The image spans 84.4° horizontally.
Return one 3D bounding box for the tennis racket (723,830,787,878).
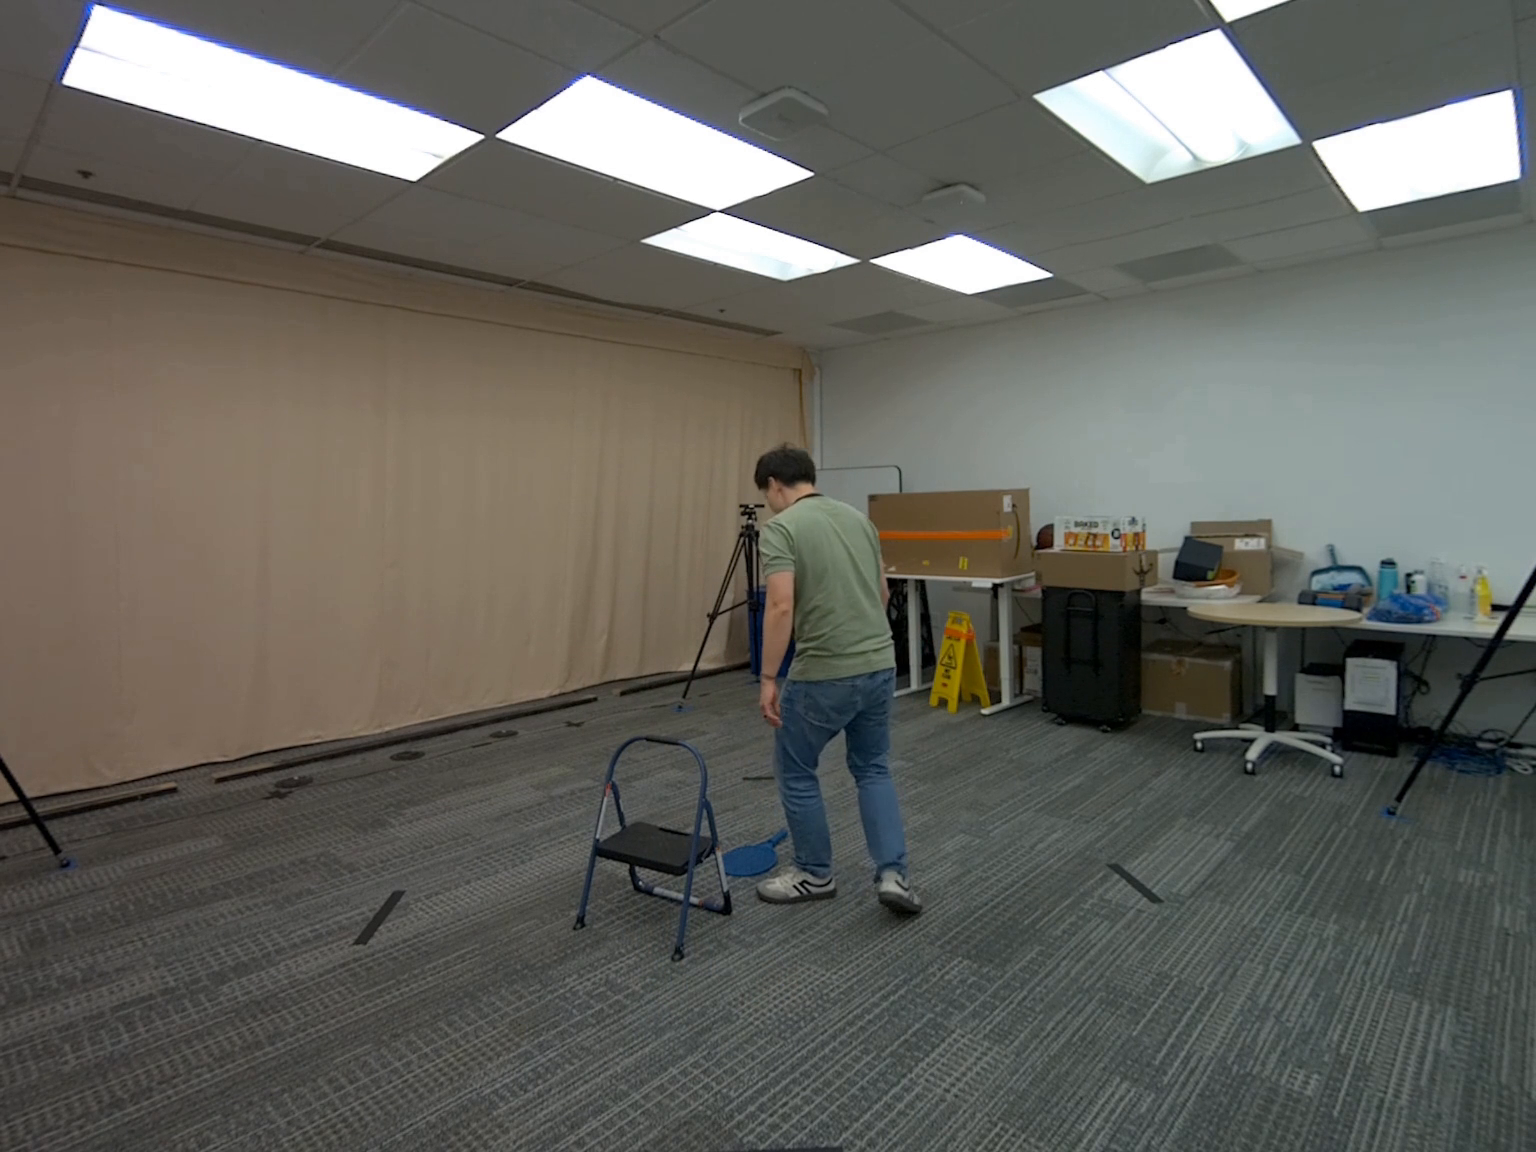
[{"bbox_3d":[-0.037,1.096,3.342,0.220,0.031,0.422,2,7,30],"label":"tennis racket"}]
